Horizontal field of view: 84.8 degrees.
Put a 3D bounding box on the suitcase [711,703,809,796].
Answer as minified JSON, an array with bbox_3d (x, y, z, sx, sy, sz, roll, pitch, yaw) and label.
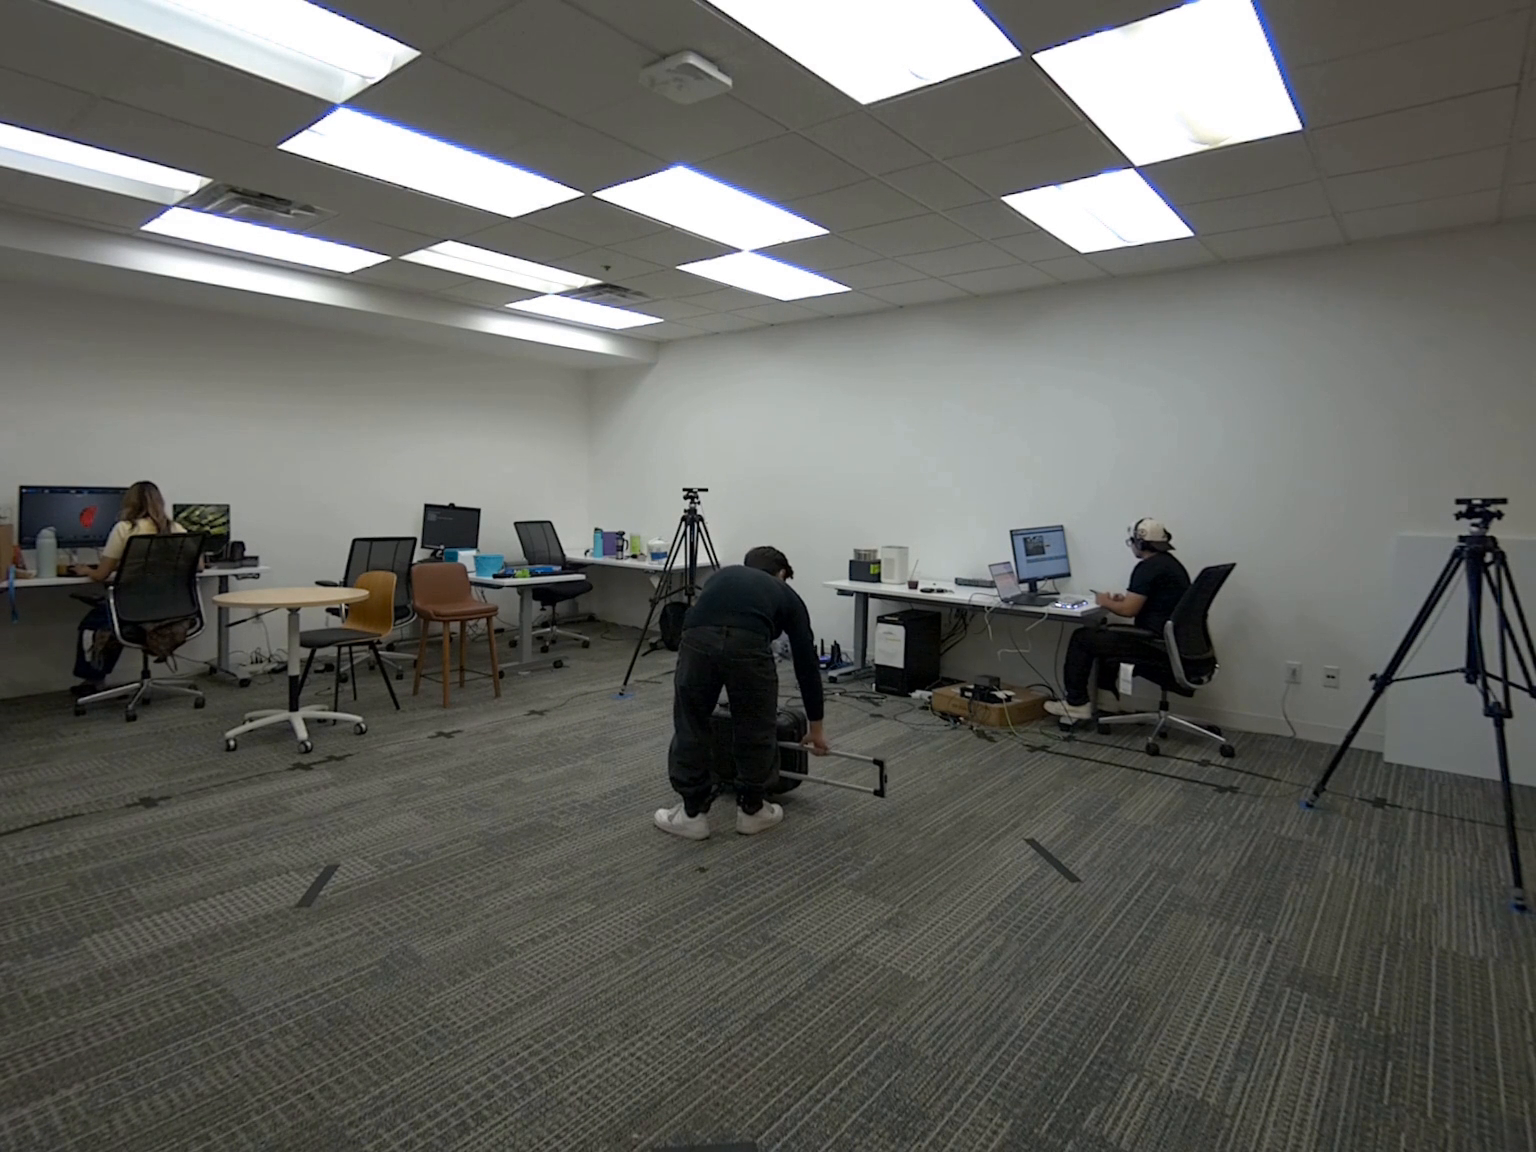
[{"bbox_3d":[0.074,0.778,3.792,1.006,0.383,0.251,2,4,30],"label":"suitcase"}]
